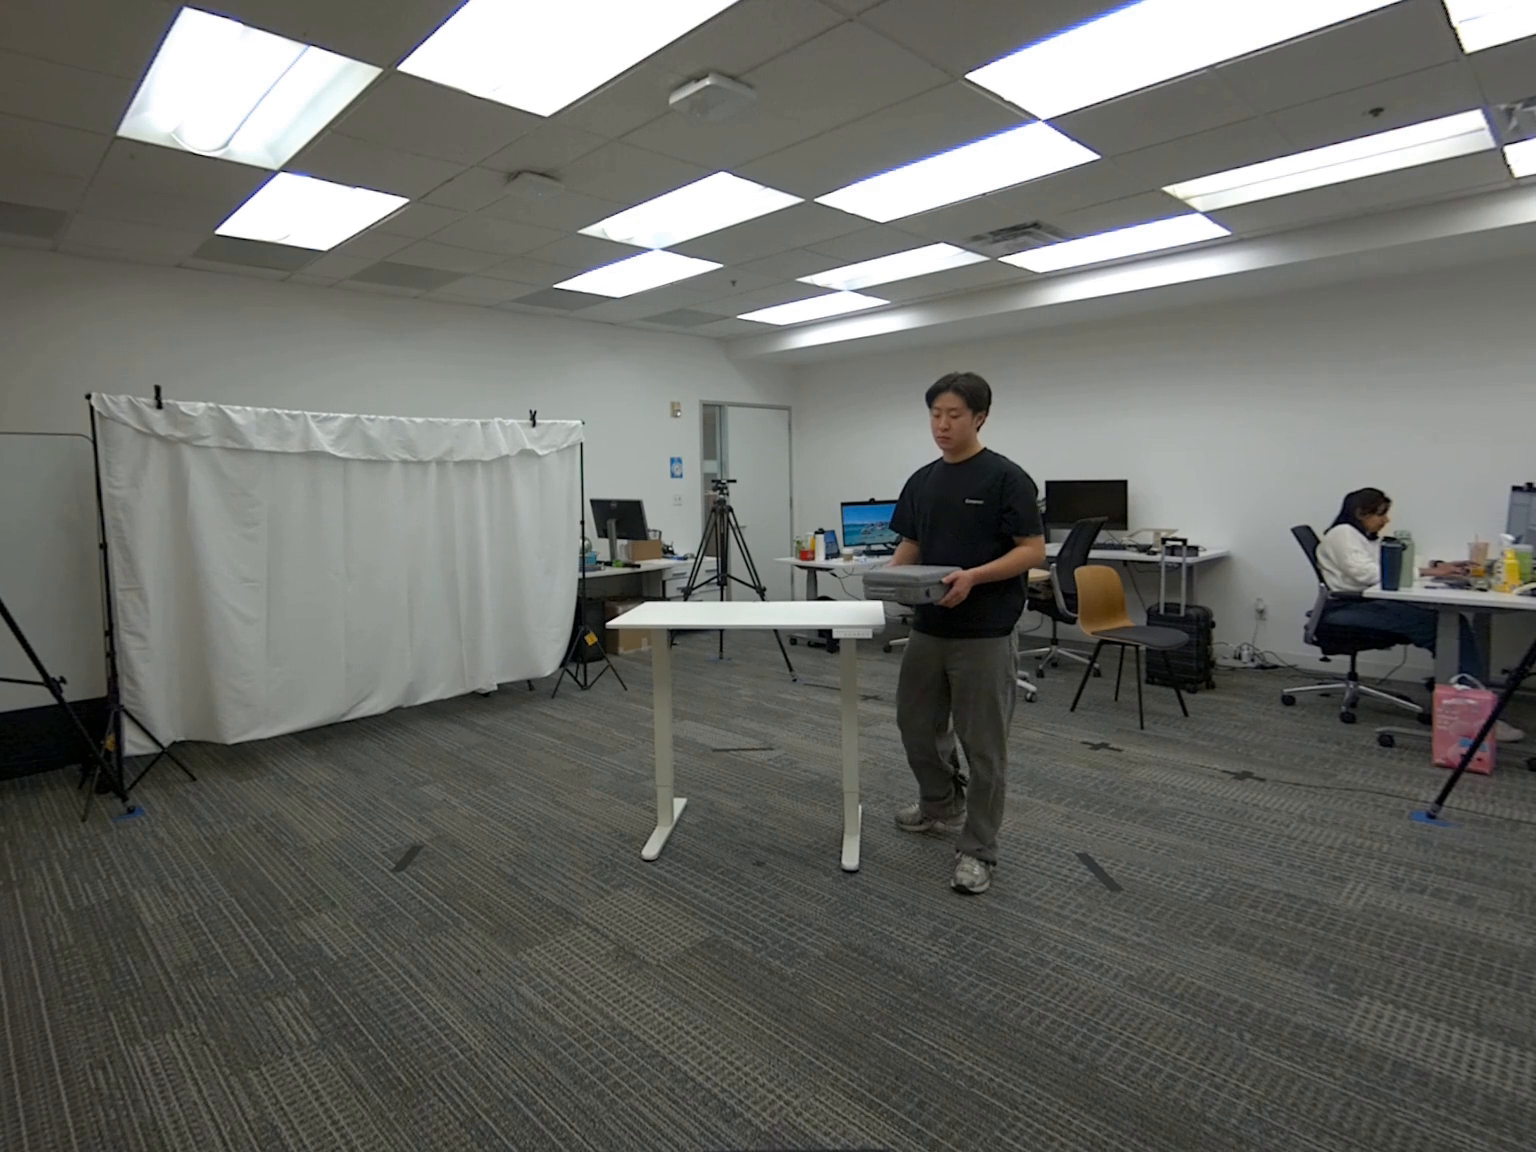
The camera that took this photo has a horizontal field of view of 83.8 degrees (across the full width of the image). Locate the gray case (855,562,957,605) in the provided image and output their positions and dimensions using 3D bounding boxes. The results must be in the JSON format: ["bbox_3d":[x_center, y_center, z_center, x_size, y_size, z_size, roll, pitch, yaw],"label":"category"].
[{"bbox_3d":[0.473,0.019,2.850,0.294,0.102,0.259,-1,8,26],"label":"gray case"}]
